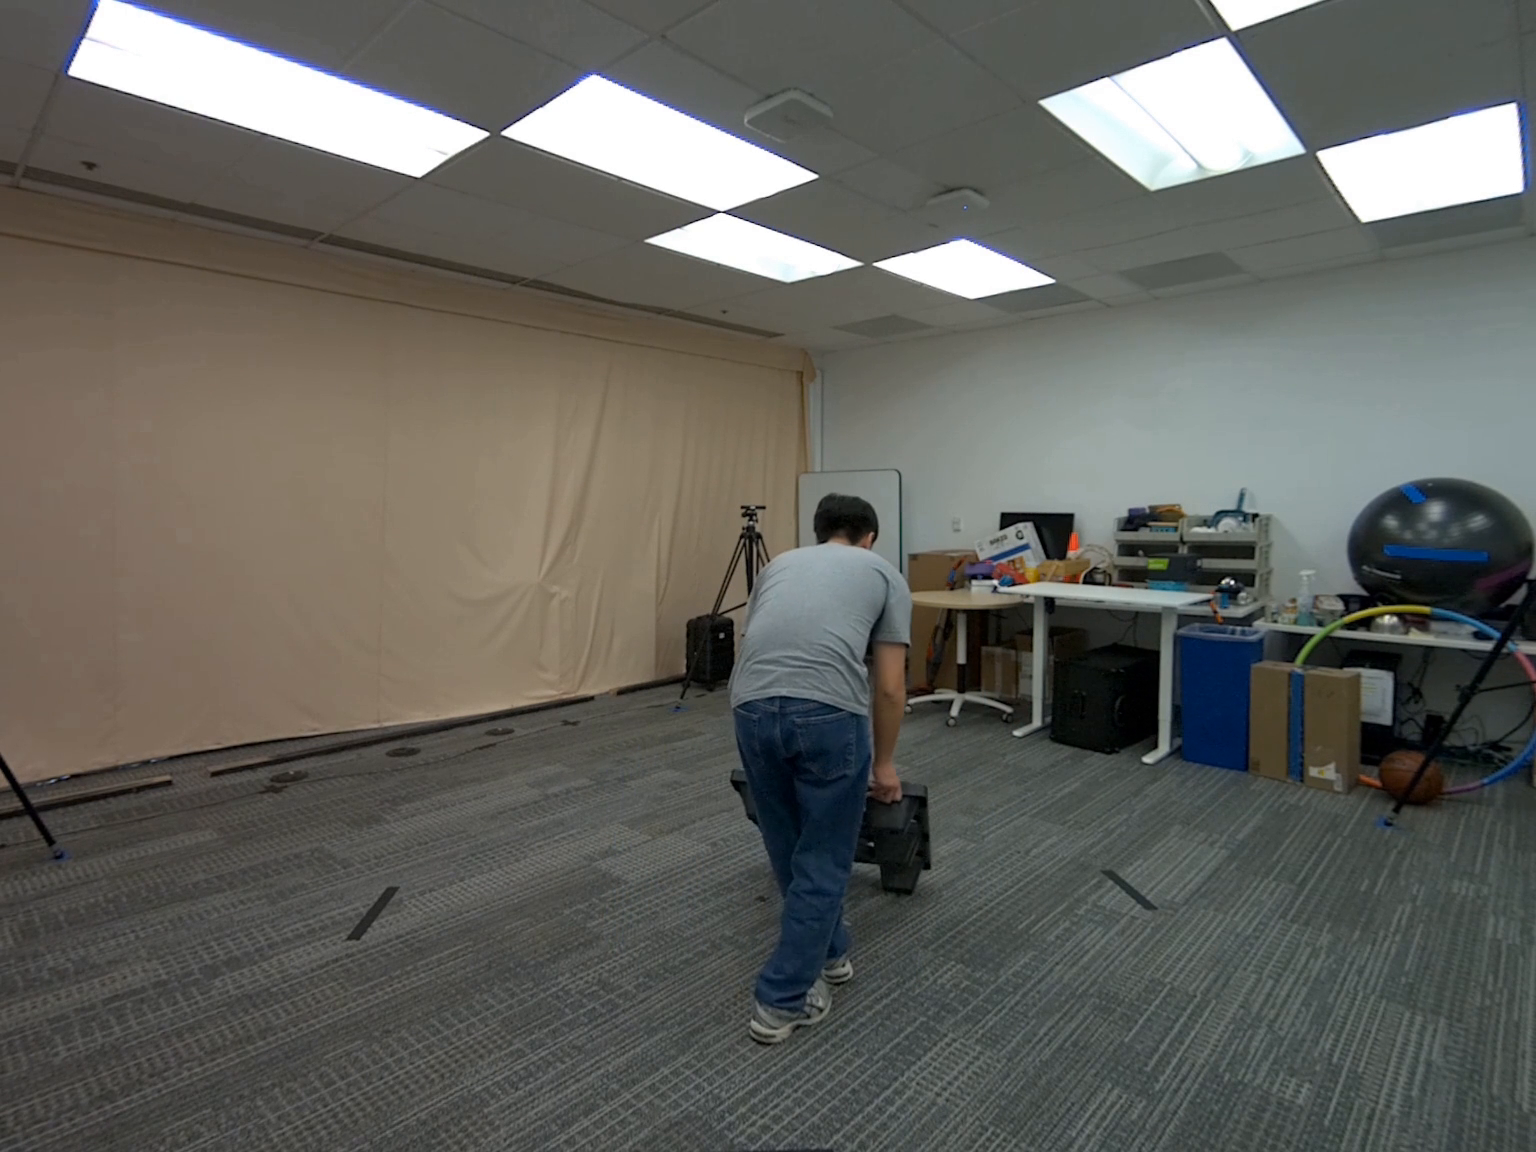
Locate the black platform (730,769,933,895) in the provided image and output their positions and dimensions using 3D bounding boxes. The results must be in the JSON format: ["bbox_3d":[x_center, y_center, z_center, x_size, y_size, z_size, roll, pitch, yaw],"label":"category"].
[{"bbox_3d":[0.234,0.876,2.826,0.614,0.145,0.784,1,-35,13],"label":"black platform"}]
